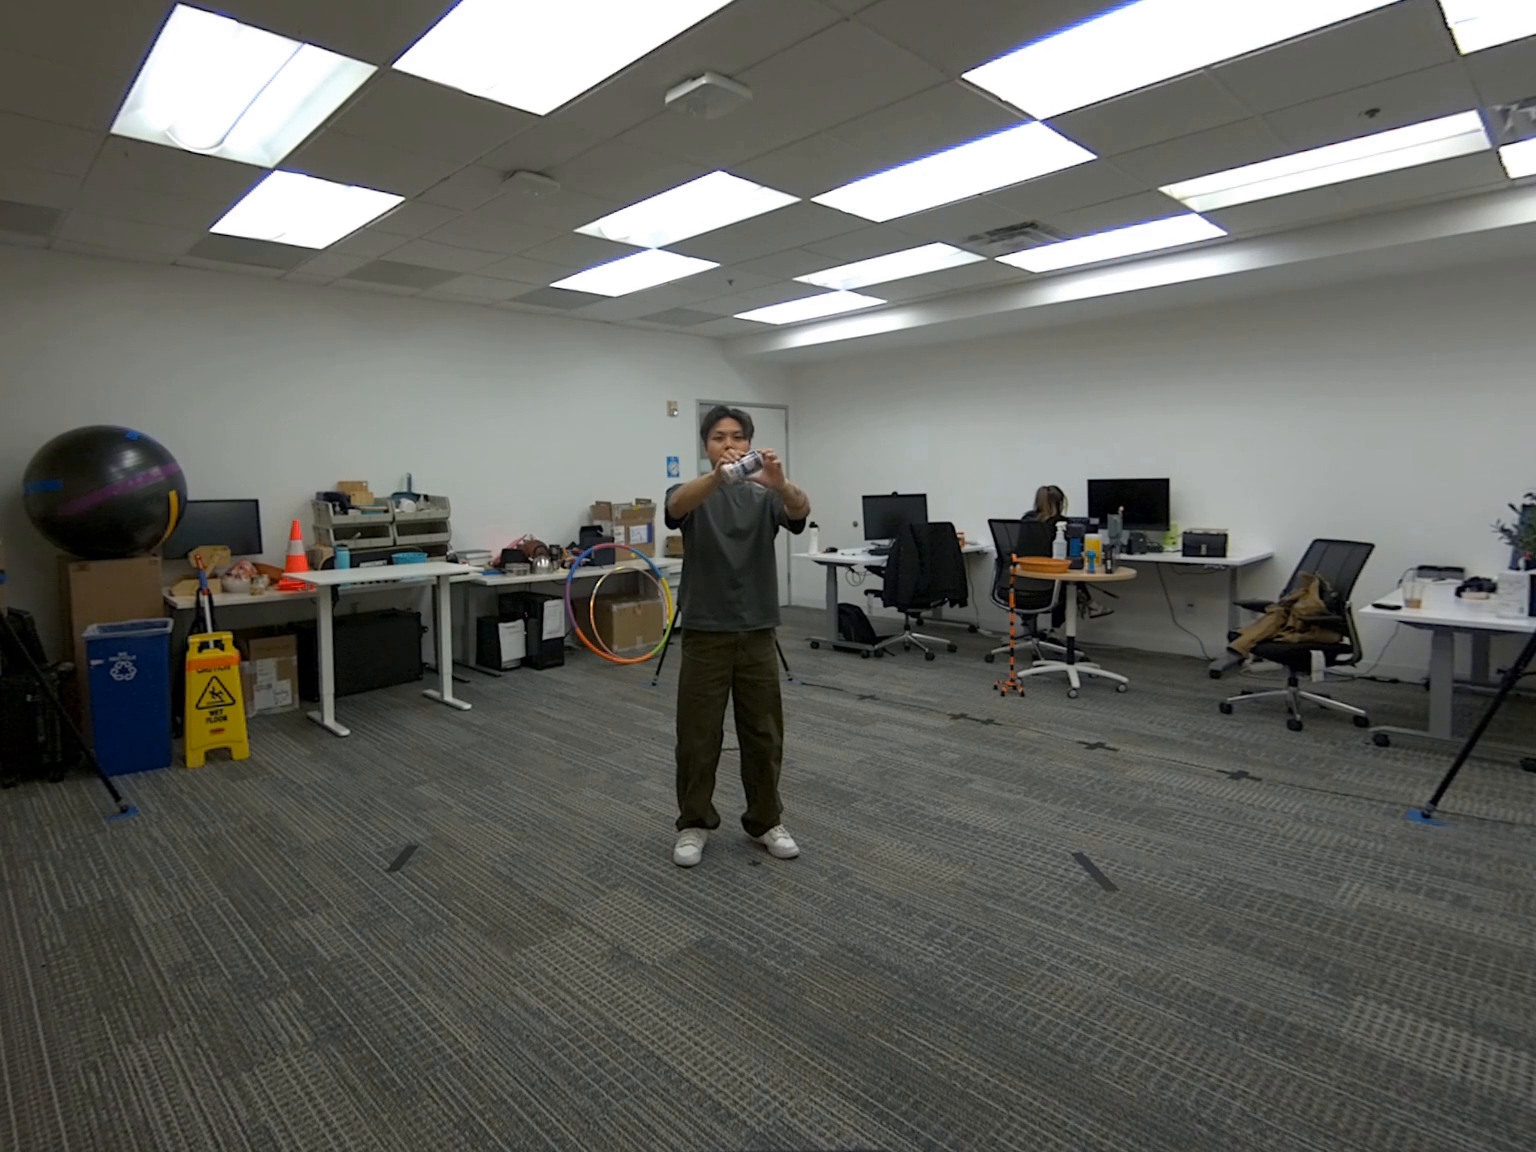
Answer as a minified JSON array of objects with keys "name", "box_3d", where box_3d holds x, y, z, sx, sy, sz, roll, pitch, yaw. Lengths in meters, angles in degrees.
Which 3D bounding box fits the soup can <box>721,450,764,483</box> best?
[{"name":"soup can","box_3d":[-0.082,-0.335,2.660,0.121,0.066,0.068,-25,7,-4]}]
